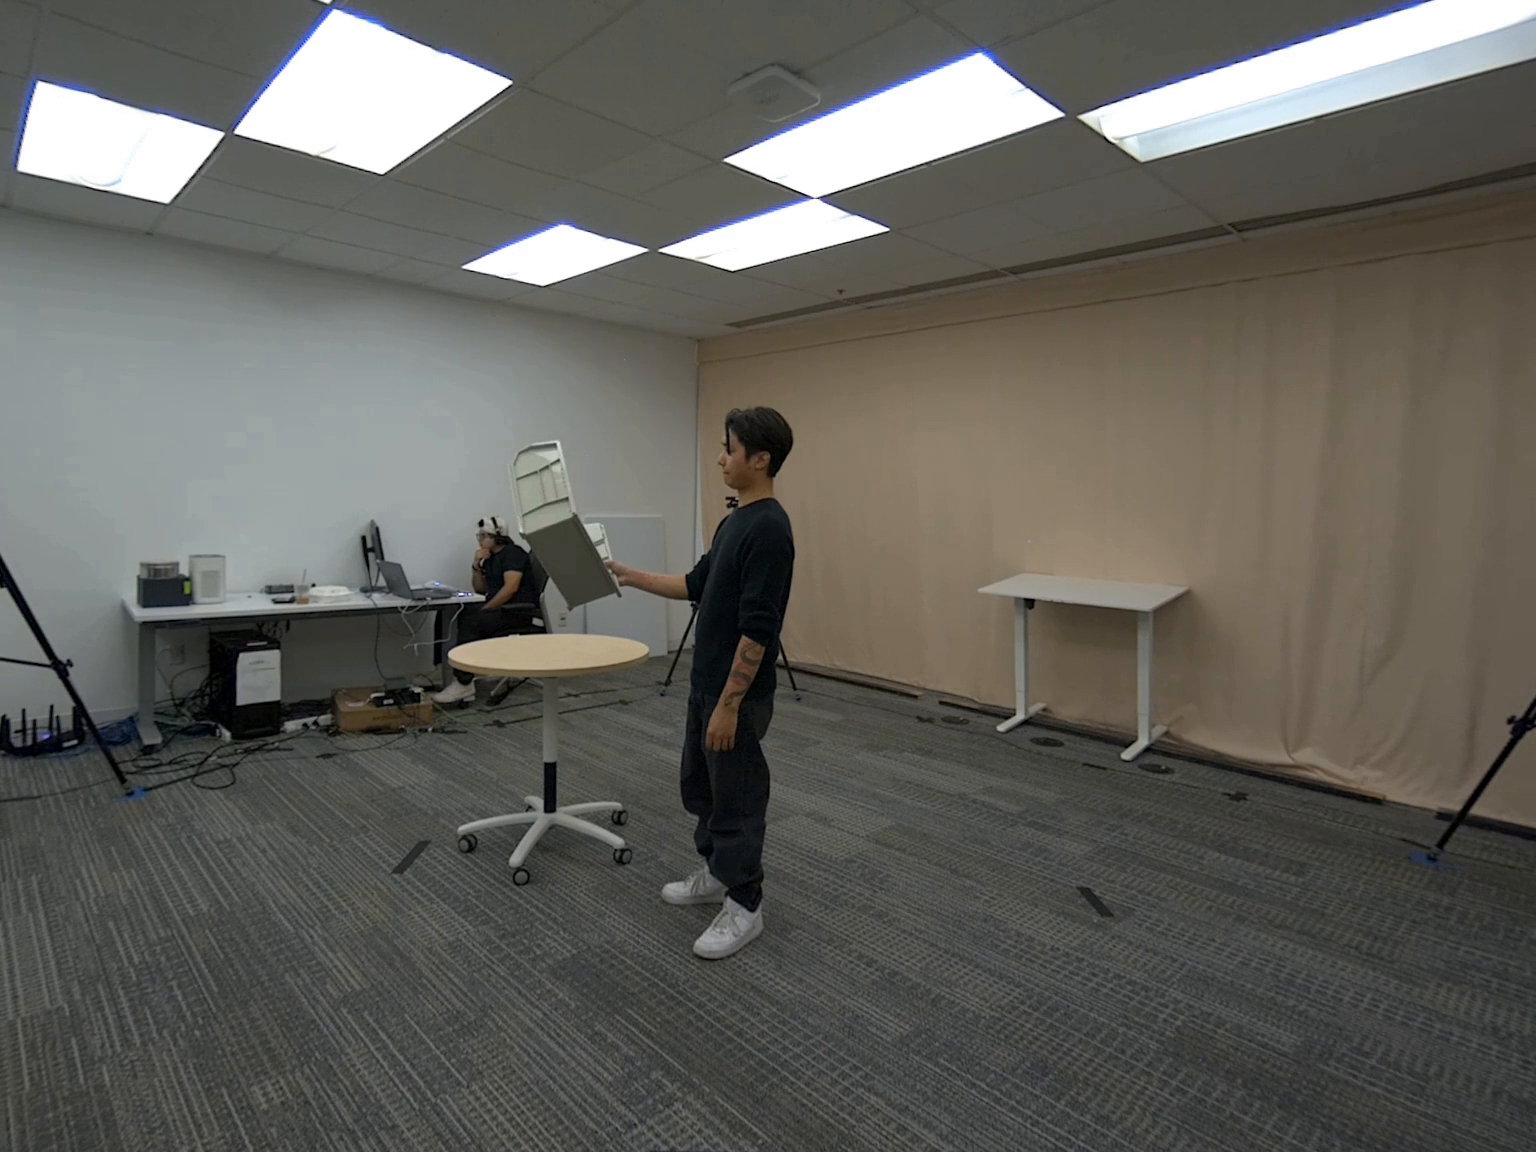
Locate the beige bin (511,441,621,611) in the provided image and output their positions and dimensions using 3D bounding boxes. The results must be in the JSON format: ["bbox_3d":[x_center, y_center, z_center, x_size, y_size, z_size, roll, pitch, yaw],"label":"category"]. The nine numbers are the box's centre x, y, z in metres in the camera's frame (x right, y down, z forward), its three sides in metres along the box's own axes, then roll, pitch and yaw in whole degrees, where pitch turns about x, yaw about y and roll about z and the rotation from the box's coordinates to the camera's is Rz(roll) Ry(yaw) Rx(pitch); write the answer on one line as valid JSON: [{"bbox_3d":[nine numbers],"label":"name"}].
[{"bbox_3d":[-0.660,-0.160,2.707,0.189,0.388,0.410,-20,-39,-2],"label":"beige bin"}]
